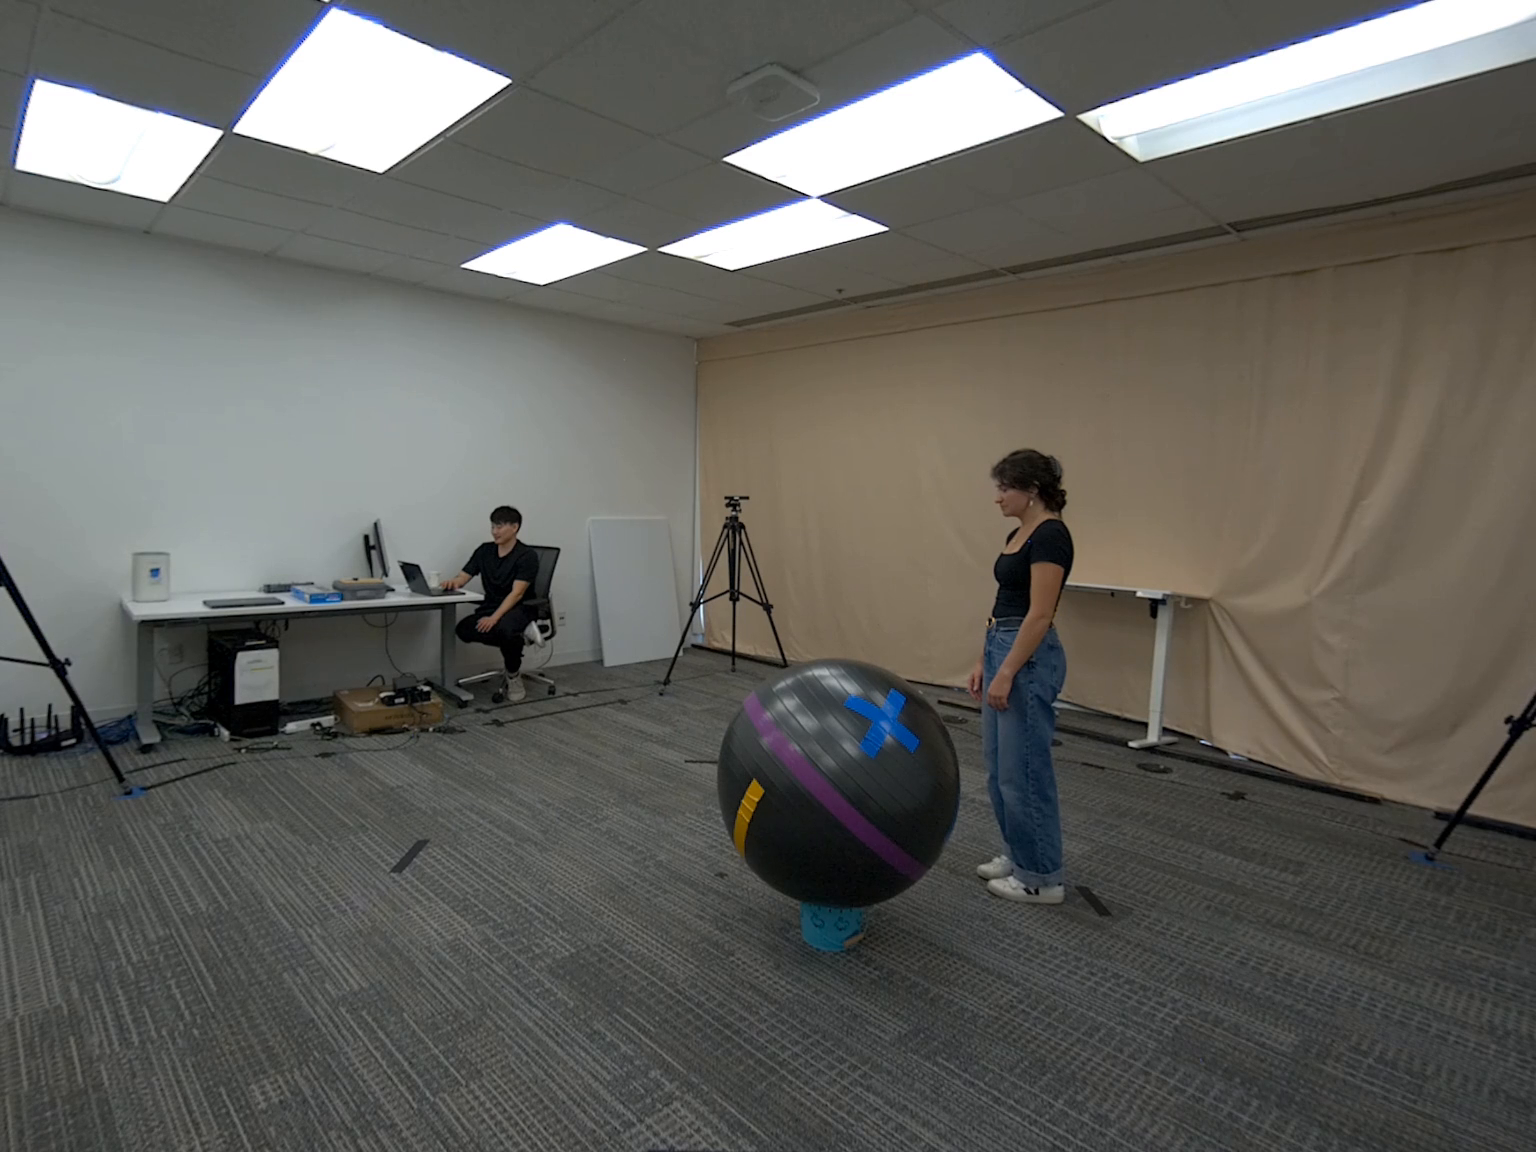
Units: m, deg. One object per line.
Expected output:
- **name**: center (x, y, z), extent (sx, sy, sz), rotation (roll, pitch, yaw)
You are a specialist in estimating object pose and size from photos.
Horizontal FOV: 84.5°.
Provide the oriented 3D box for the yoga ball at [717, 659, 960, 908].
- **yoga ball**: center (0.225, 0.649, 2.649), extent (0.757, 0.756, 0.761), rotation (1, 4, -1)
